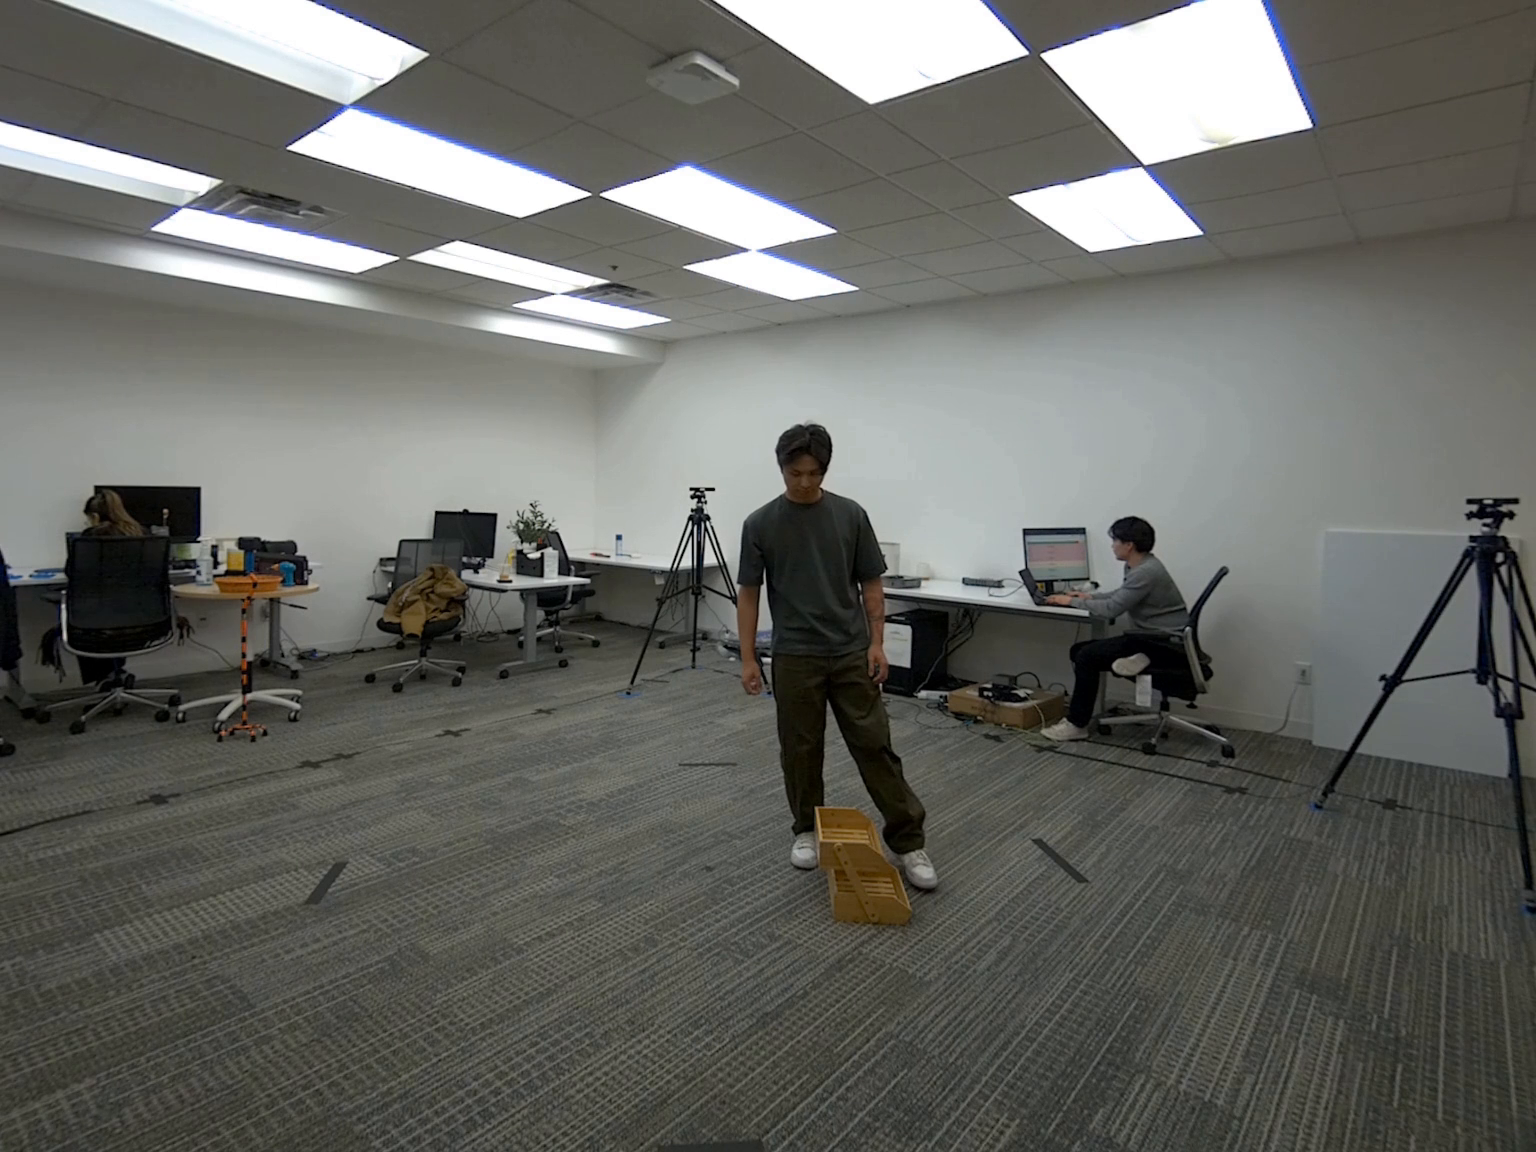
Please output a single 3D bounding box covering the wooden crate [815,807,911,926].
[{"bbox_3d":[0.316,0.965,2.887,0.303,0.272,0.324,1,4,2],"label":"wooden crate"}]
